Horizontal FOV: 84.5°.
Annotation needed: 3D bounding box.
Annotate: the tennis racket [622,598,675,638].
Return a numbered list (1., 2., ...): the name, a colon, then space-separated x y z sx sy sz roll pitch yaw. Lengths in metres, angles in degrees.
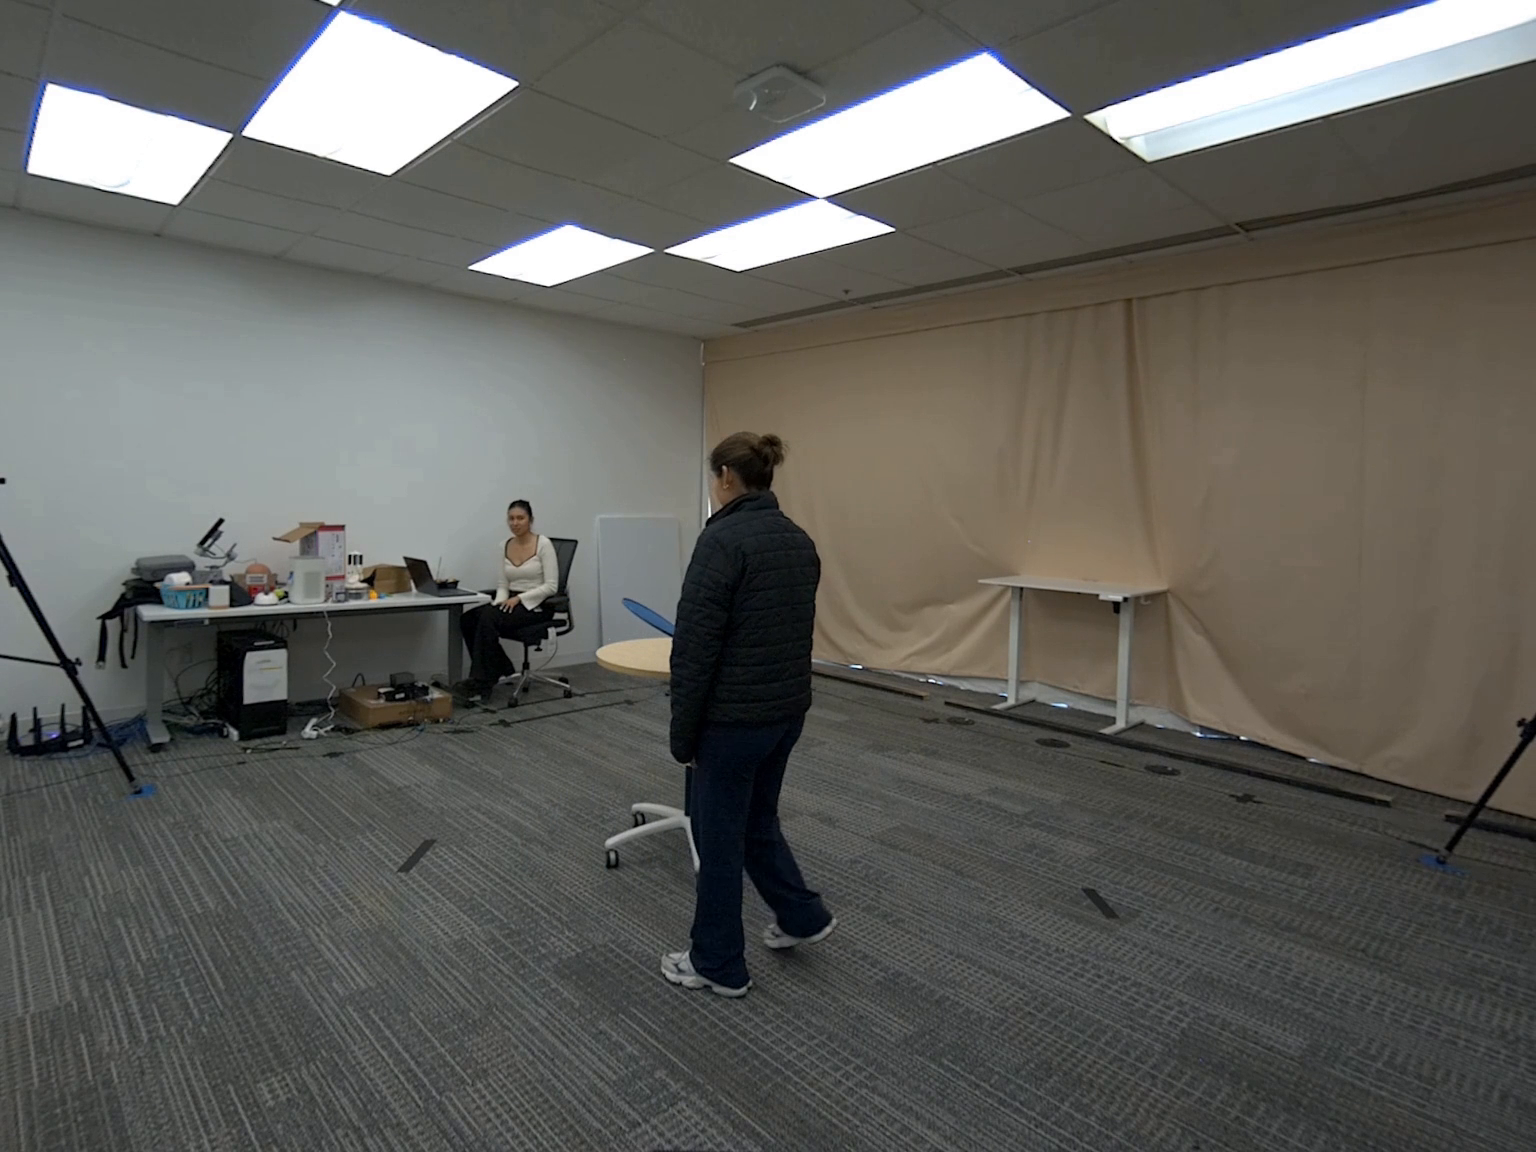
1. tennis racket: -0.333 0.182 2.749 0.446 0.032 0.208 34 5 32
